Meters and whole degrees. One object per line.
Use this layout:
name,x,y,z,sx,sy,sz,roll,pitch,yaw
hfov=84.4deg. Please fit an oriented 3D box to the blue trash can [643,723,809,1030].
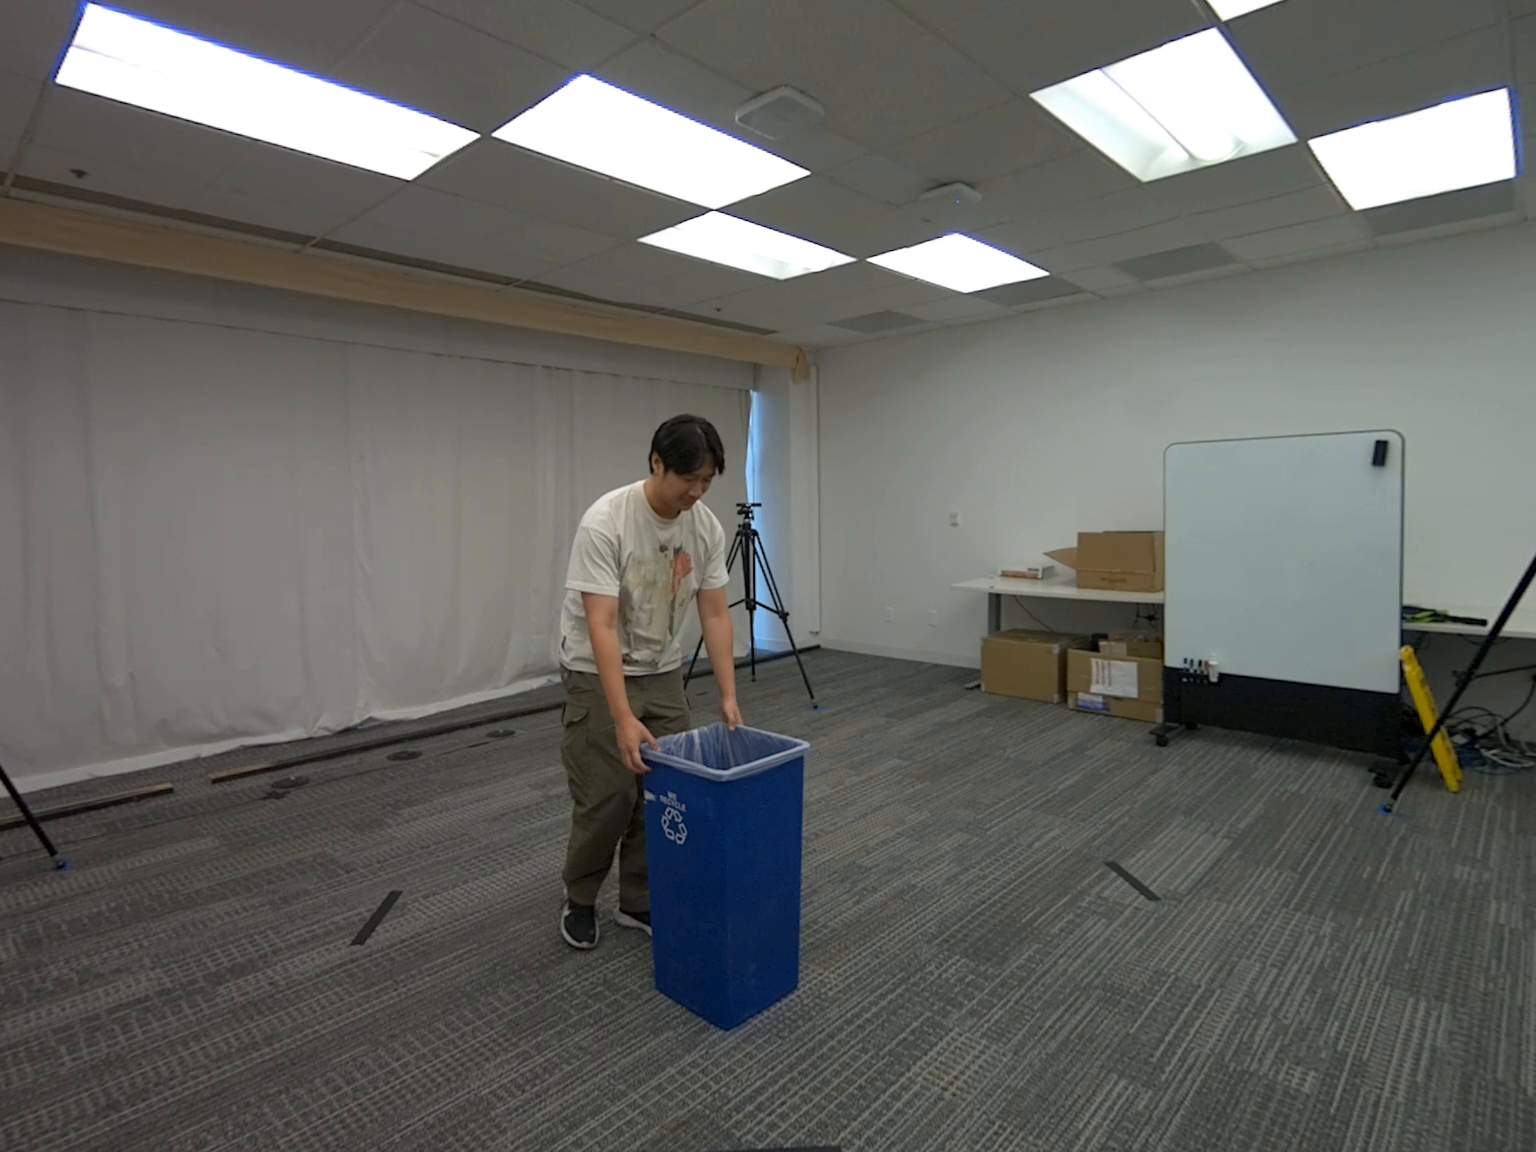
blue trash can,-0.110,0.832,2.400,0.386,0.712,0.366,2,5,44
